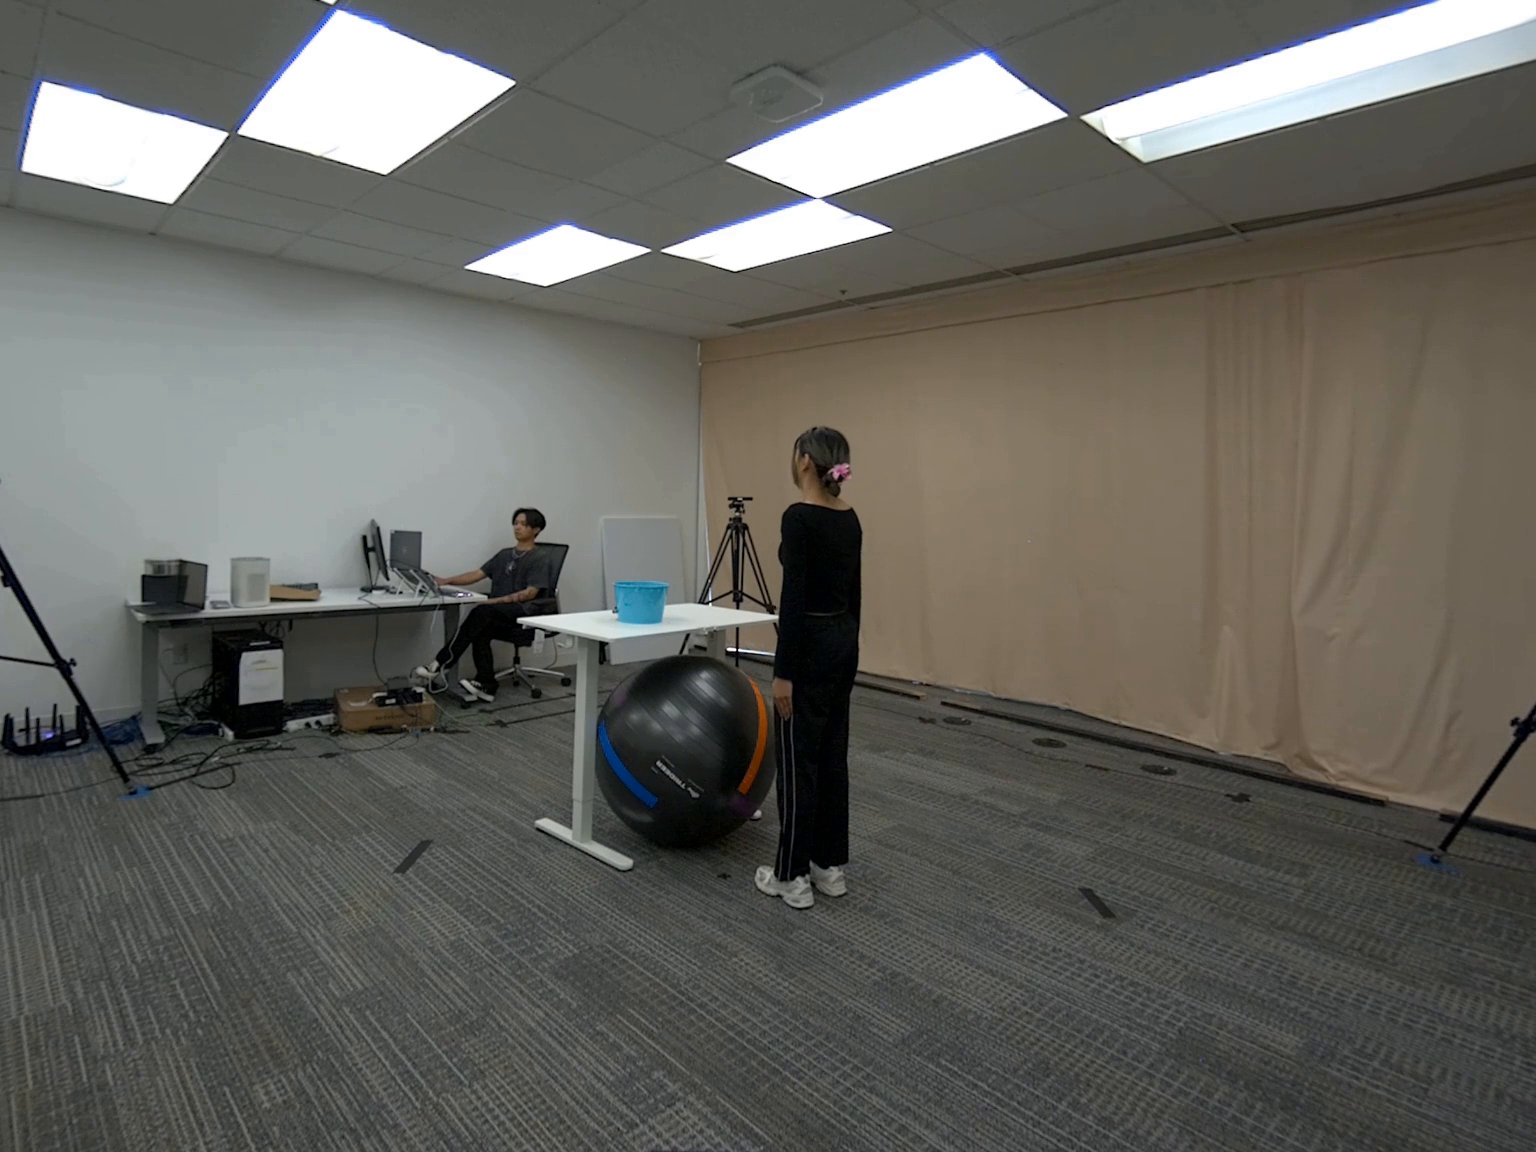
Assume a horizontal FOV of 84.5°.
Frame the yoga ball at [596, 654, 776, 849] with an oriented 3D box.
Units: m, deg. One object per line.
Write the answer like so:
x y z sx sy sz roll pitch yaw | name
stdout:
-0.344 0.708 3.456 0.757 0.756 0.760 1 4 -1 | yoga ball
